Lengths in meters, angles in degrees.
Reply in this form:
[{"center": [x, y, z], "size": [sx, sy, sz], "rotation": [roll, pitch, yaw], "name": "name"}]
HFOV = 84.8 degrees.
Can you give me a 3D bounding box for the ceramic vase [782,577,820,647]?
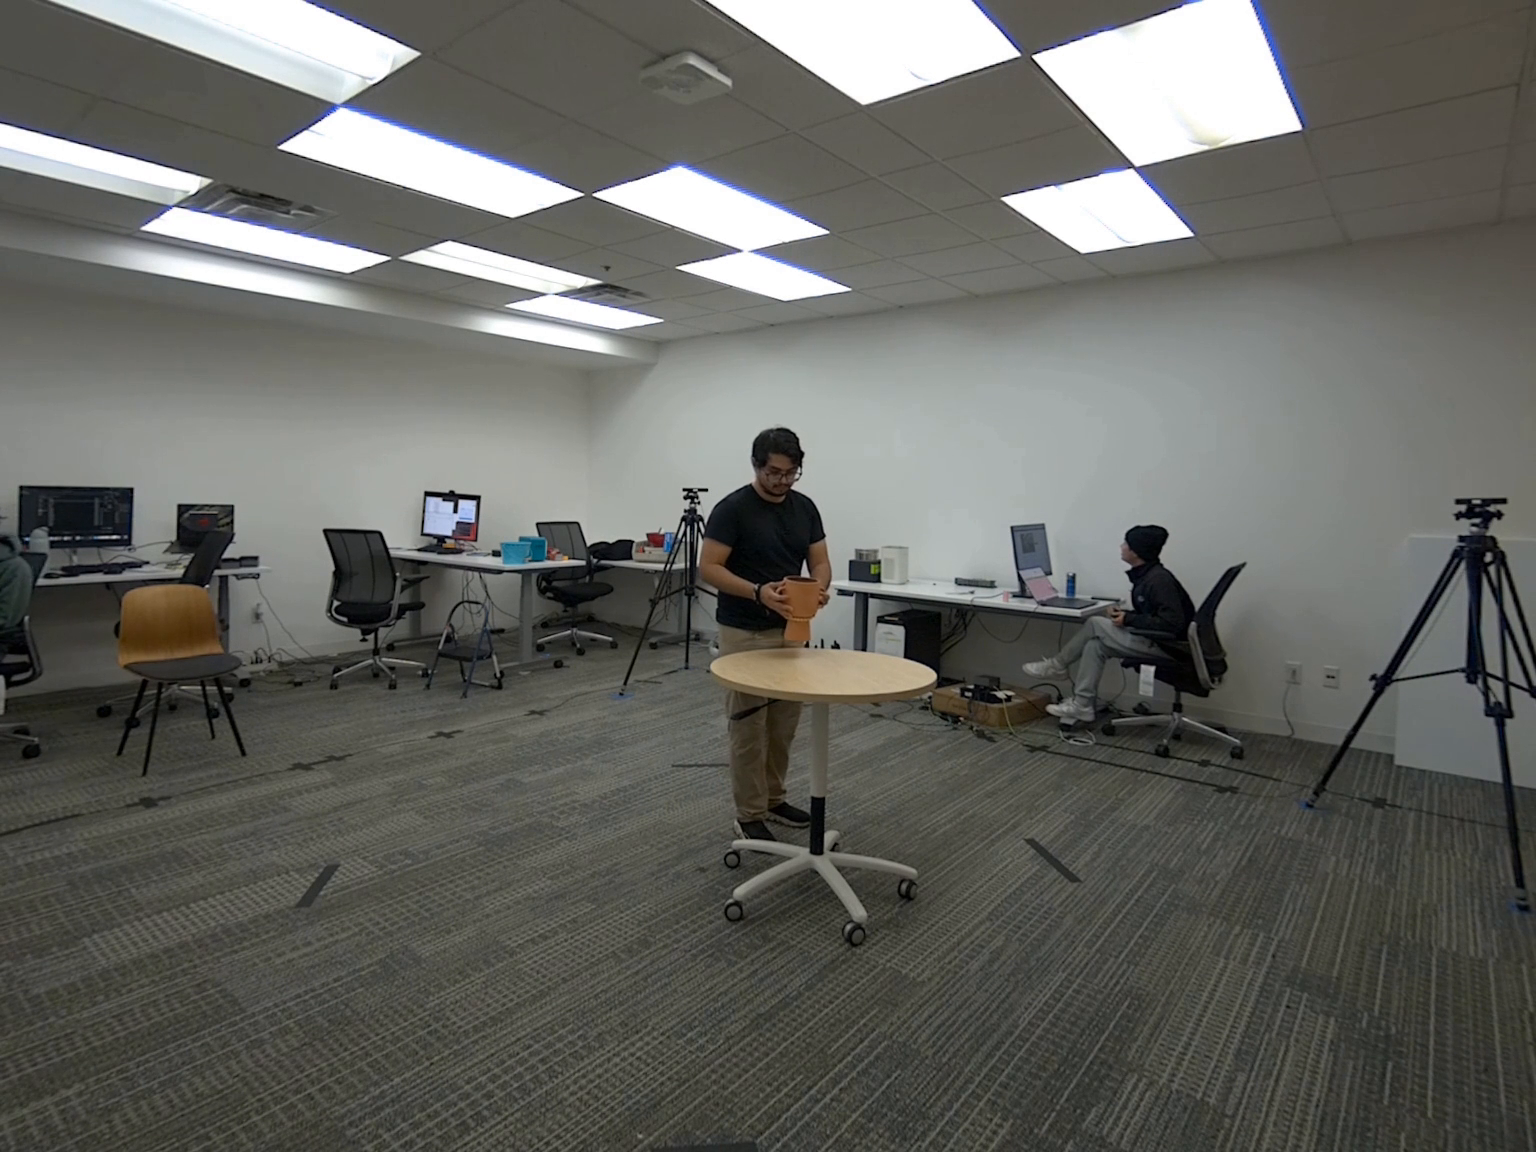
[{"center": [0.113, 0.119, 3.107], "size": [0.161, 0.218, 0.133], "rotation": [5, 8, 13], "name": "ceramic vase"}]
